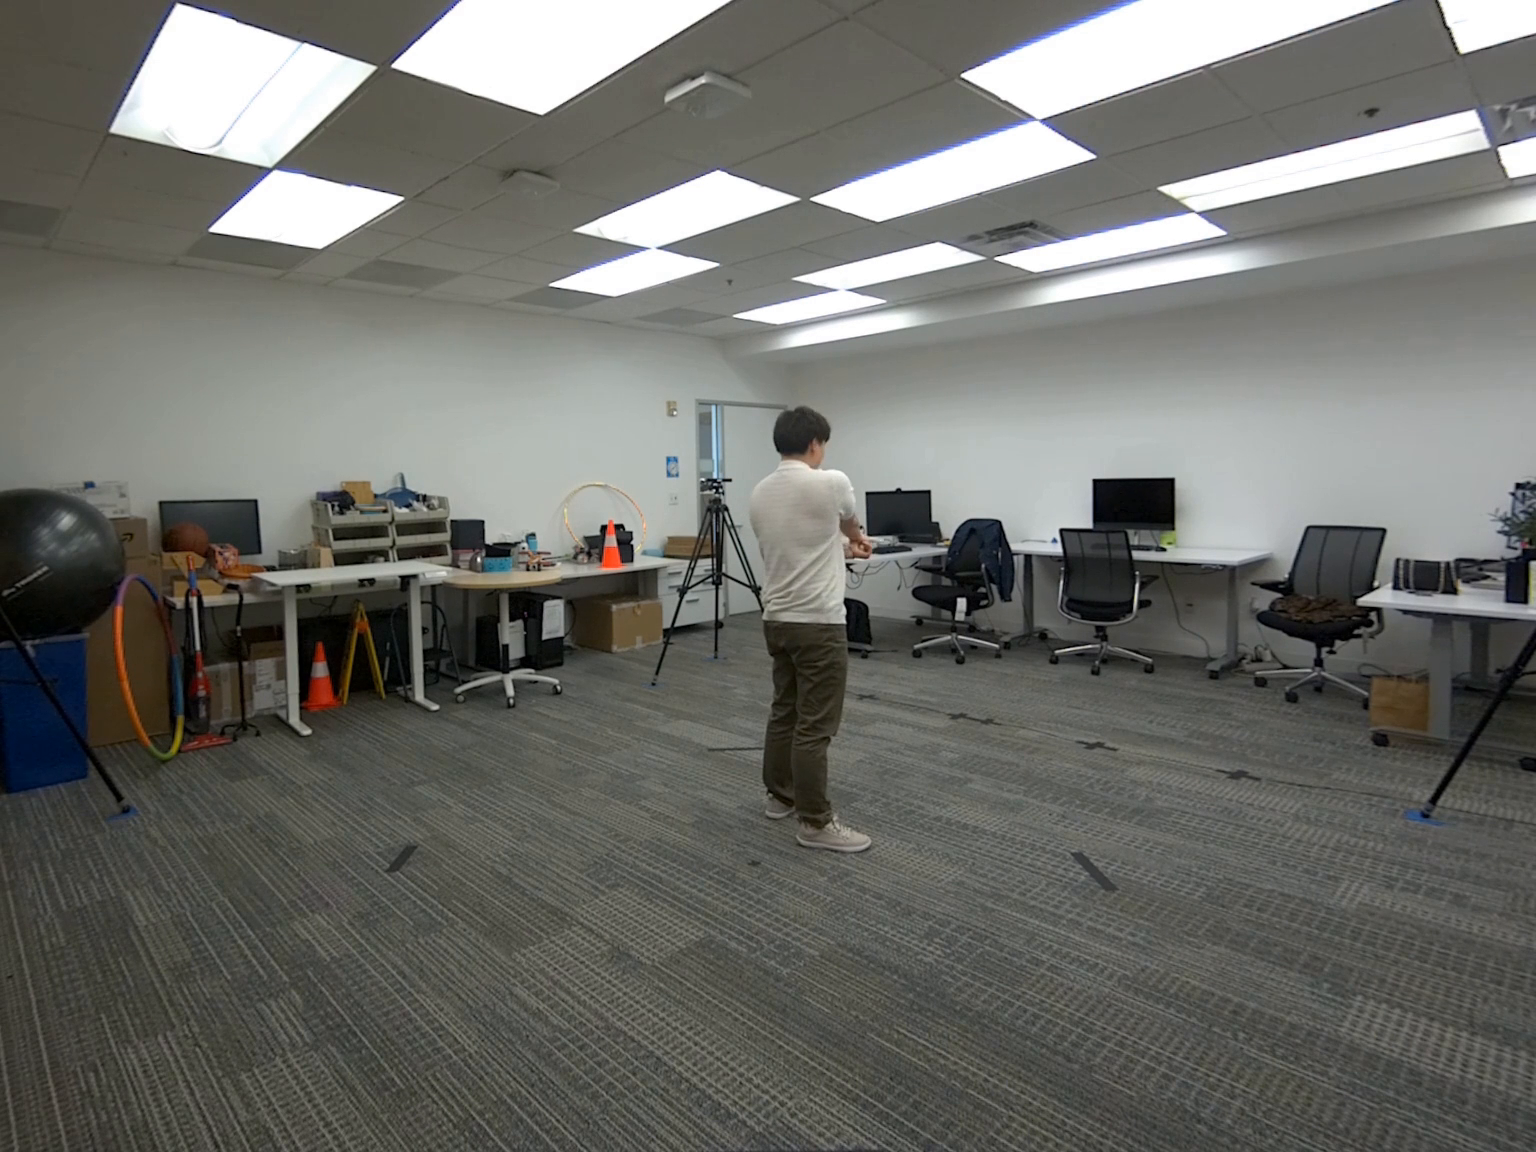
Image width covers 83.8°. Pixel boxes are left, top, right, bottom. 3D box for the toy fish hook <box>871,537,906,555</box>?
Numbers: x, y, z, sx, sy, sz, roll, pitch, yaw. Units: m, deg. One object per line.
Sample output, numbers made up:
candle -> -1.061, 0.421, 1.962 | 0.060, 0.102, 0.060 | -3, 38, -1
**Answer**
toy fish hook -> 0.451, -0.147, 3.839 | 0.223, 0.048, 0.514 | -7, 8, -10
